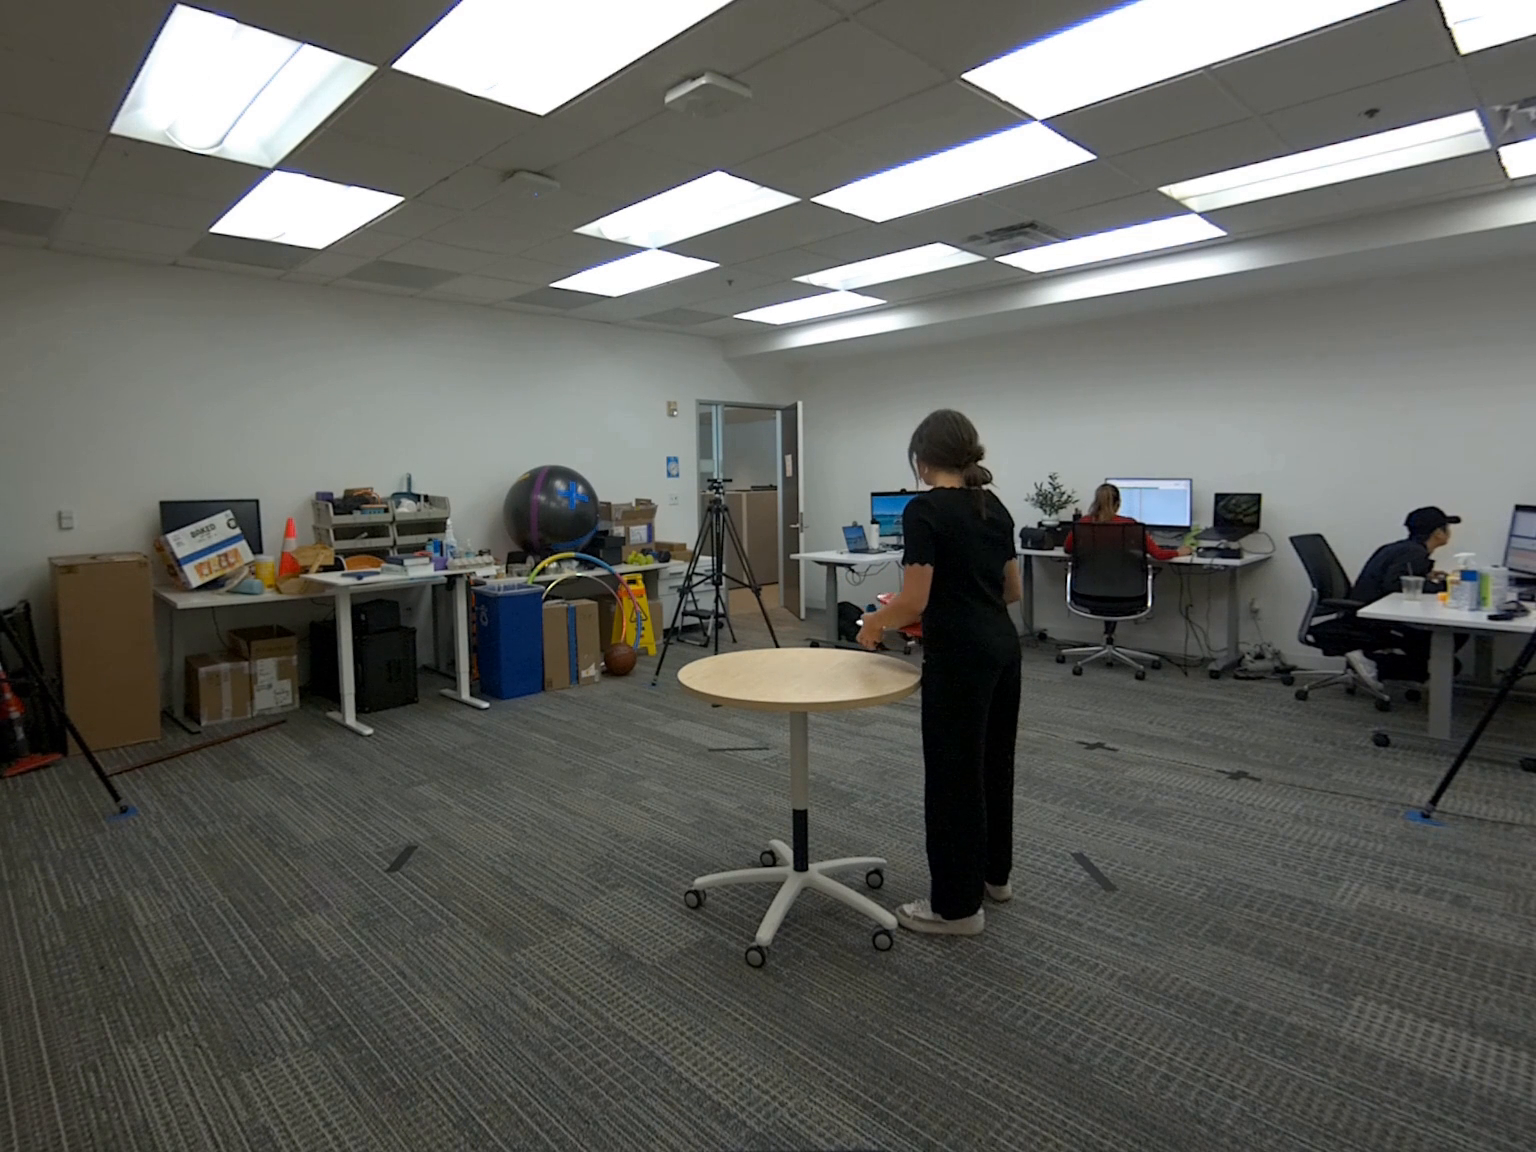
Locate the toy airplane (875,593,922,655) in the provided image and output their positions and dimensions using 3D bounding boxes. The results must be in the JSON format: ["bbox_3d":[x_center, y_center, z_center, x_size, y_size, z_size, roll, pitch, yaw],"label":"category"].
[{"bbox_3d":[0.462,0.149,2.830,0.259,0.156,0.252,11,6,32],"label":"toy airplane"}]
